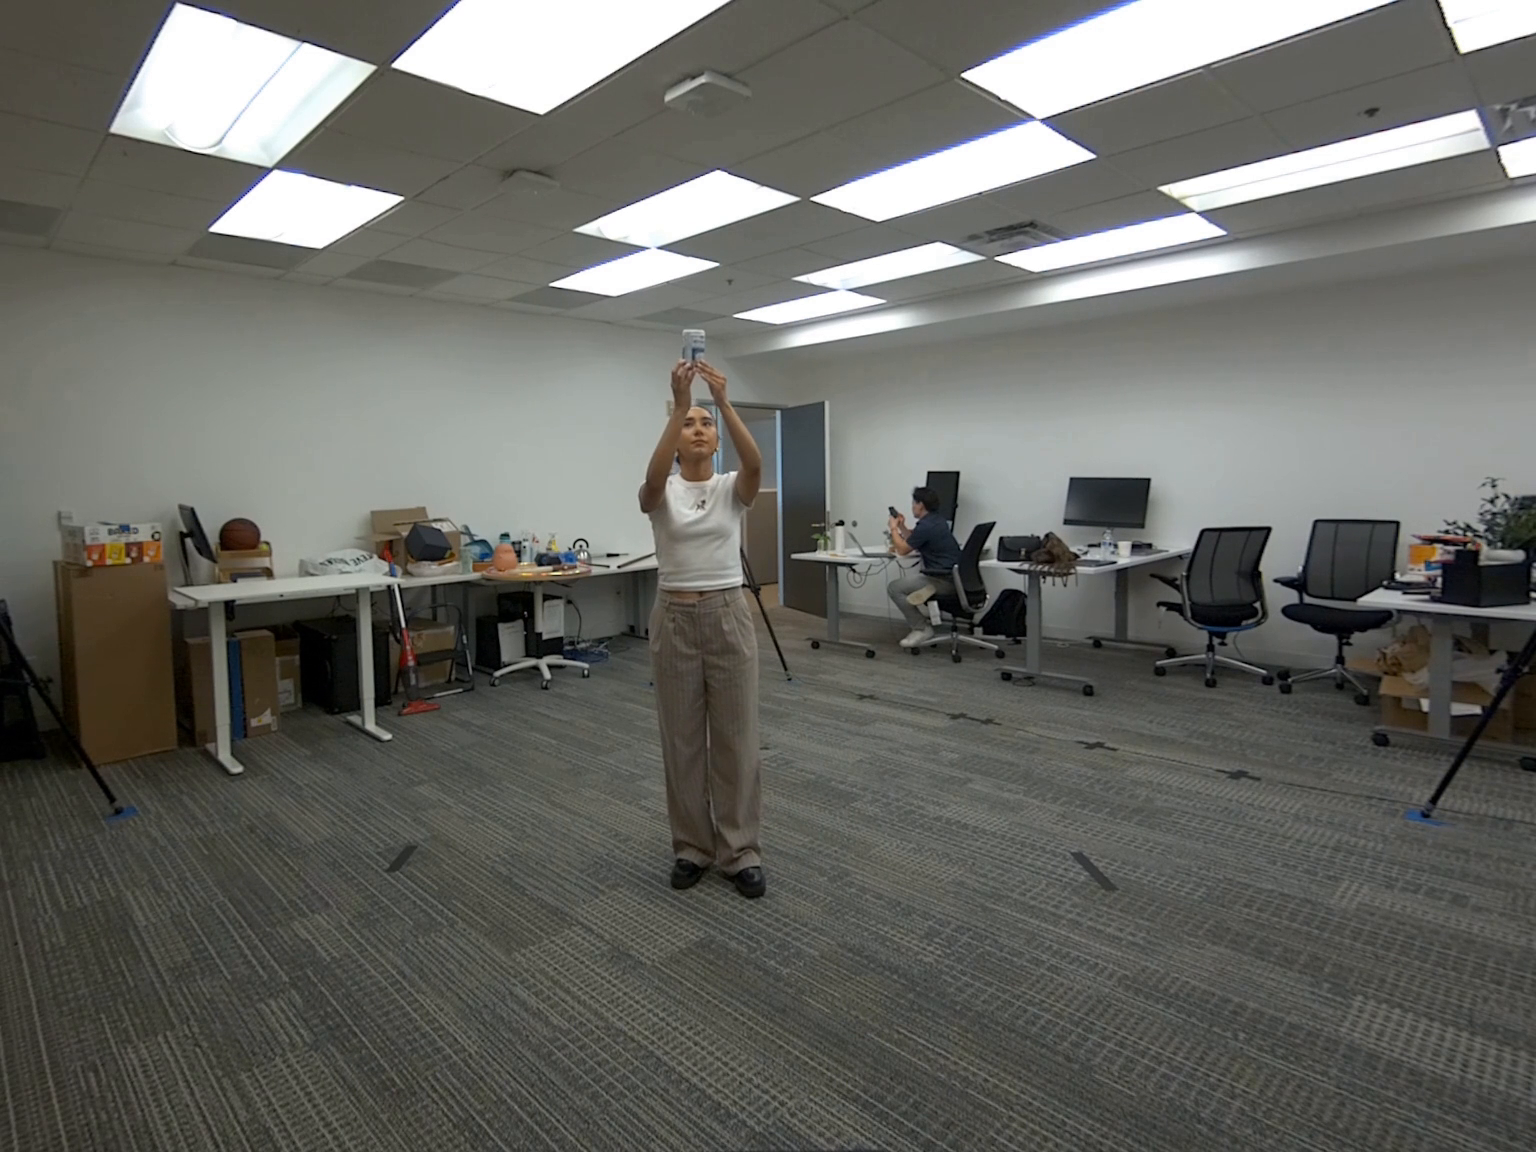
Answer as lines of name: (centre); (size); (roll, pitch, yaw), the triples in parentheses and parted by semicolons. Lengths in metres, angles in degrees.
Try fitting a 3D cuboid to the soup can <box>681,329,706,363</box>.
soup can: (-0.220, -0.678, 2.559); (0.067, 0.120, 0.068); (-2, 8, -1)
